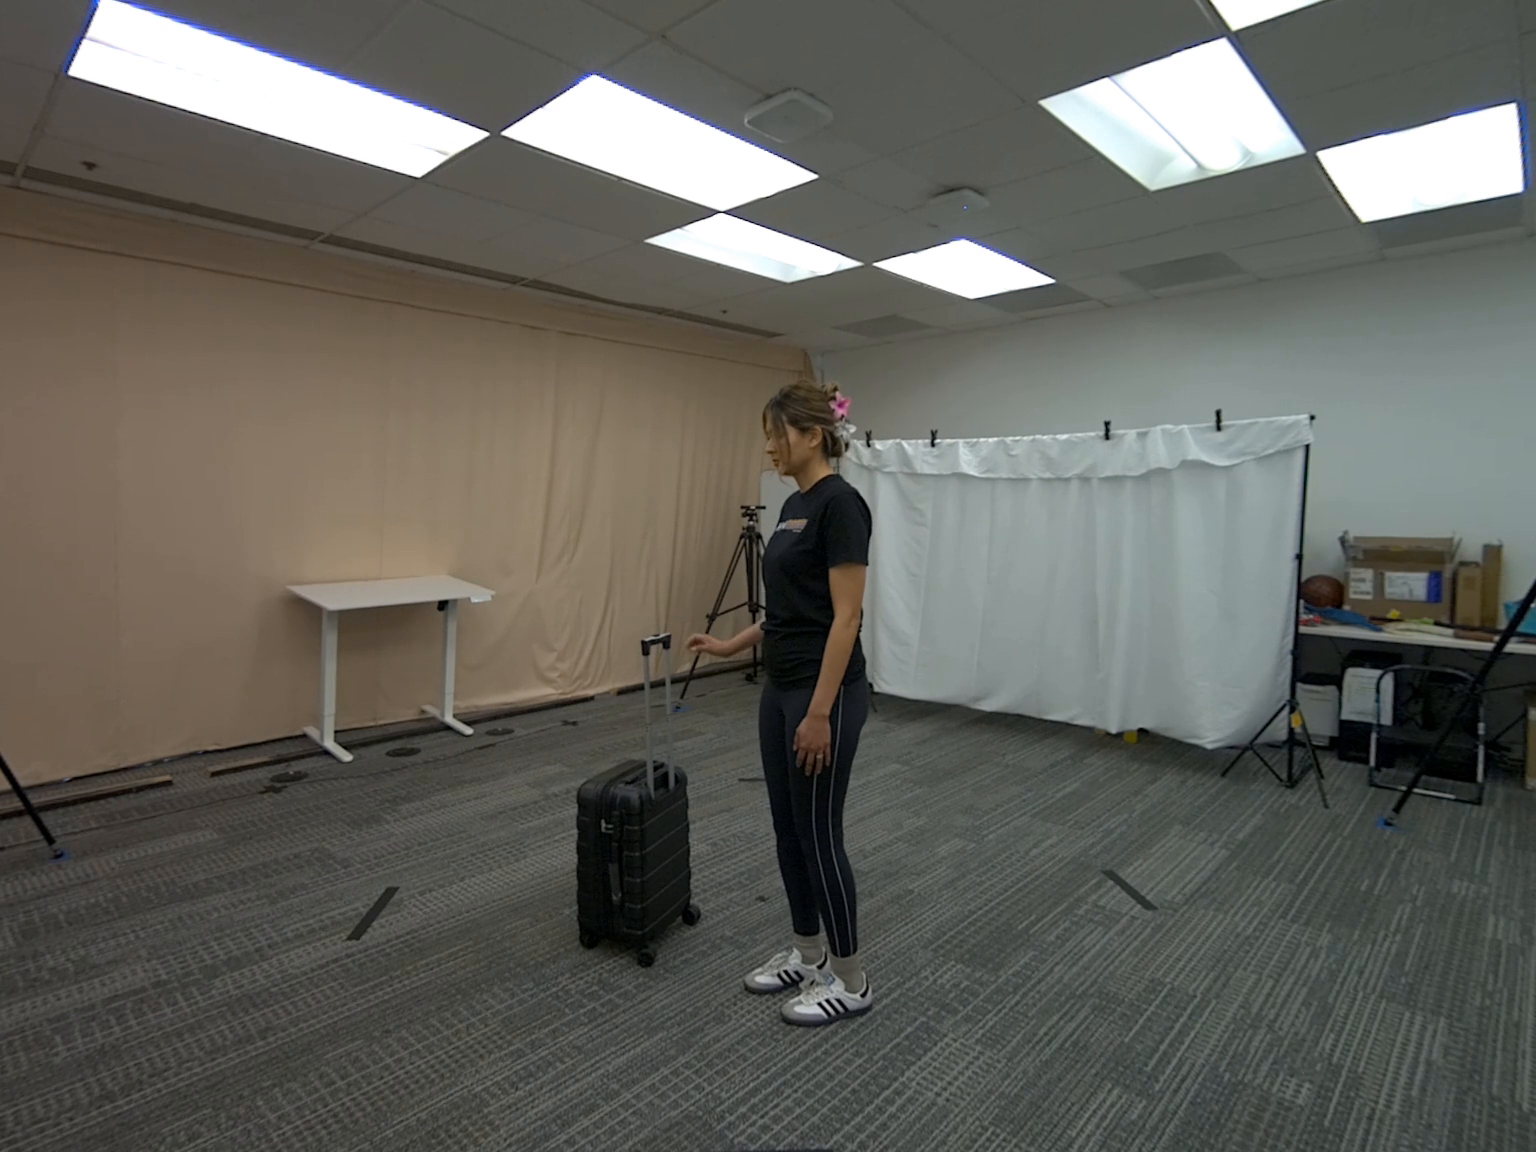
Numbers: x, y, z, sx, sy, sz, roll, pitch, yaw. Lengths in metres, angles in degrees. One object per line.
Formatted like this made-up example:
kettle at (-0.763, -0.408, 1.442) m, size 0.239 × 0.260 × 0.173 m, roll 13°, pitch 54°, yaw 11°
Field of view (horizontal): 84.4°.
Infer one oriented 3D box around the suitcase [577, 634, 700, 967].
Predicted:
suitcase at (-0.443, 0.691, 2.715) m, size 0.263 × 0.977 × 0.375 m, roll -2°, pitch 2°, yaw 25°
